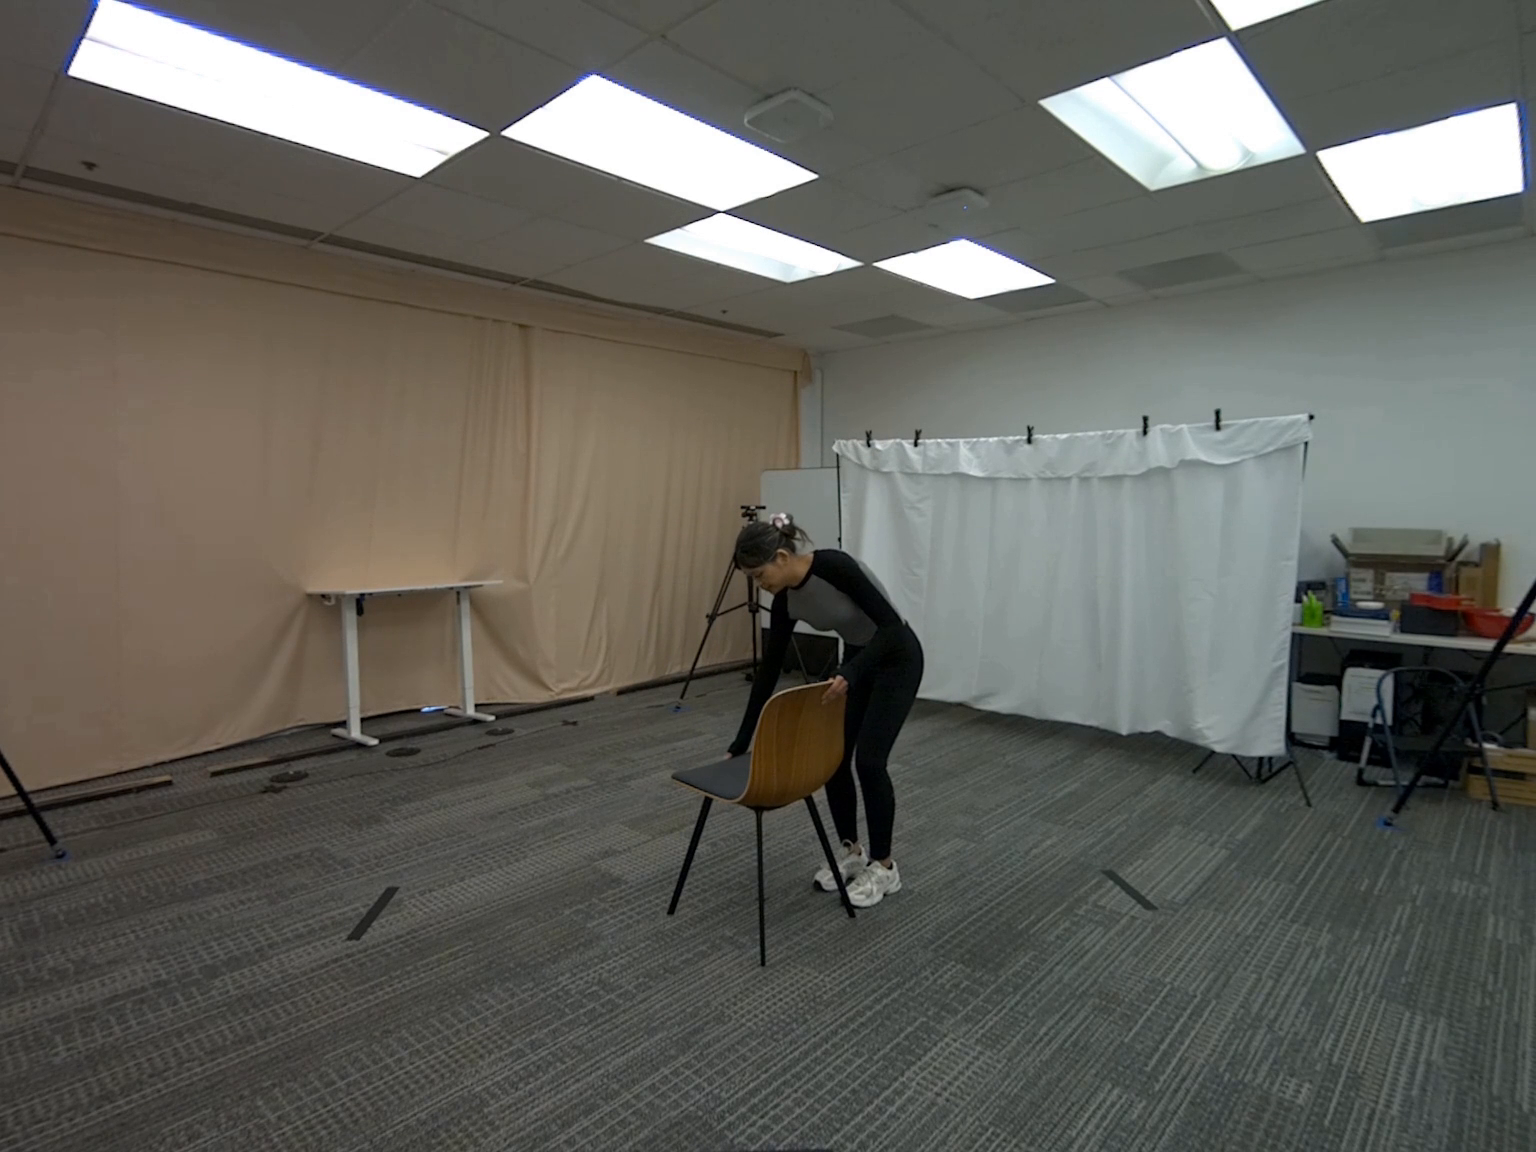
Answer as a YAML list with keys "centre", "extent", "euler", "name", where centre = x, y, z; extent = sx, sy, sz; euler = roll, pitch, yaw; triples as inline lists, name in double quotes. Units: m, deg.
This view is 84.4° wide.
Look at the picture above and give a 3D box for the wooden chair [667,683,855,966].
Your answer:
- centre: [-0.031, 0.728, 2.833]
  extent: [0.463, 0.874, 0.541]
  euler: [-3, 9, -45]
  name: "wooden chair"
